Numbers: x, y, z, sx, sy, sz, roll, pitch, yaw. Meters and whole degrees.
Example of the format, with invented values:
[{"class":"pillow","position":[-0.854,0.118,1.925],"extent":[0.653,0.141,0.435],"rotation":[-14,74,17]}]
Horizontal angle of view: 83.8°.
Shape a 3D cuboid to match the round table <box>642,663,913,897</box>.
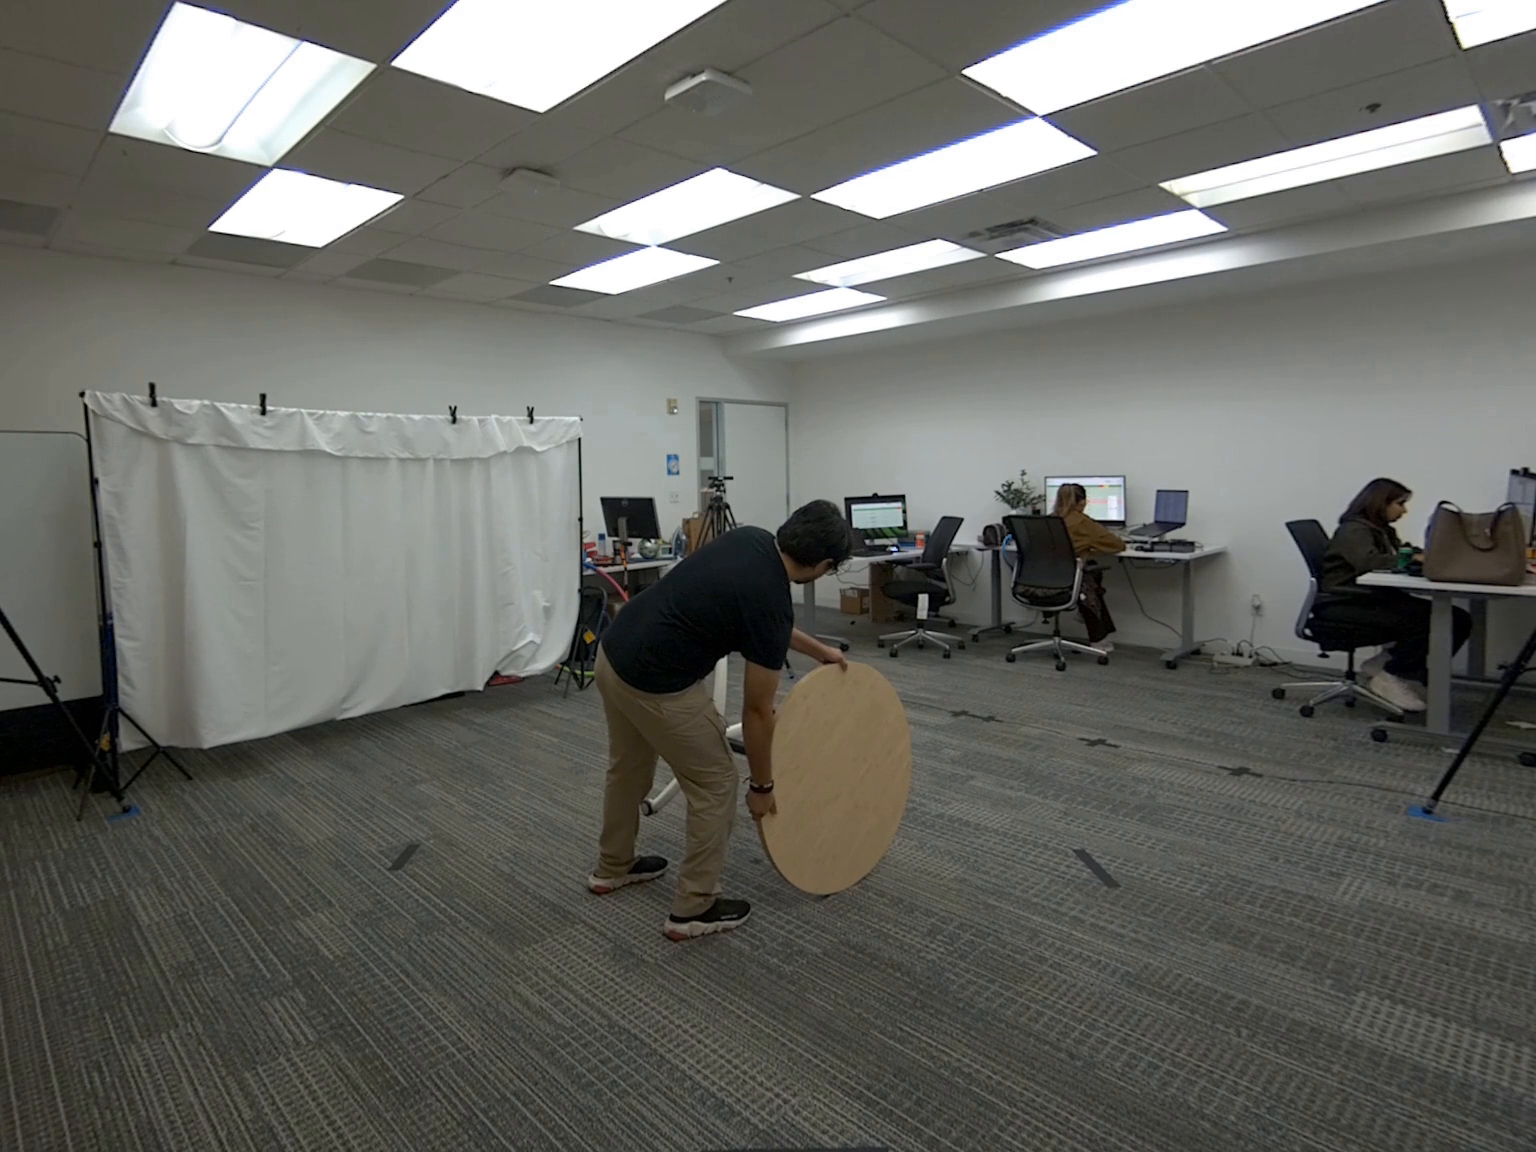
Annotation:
[{"class":"round table","position":[-0.018,0.651,3.176],"extent":[0.764,0.783,0.810],"rotation":[-6,5,-42]}]
